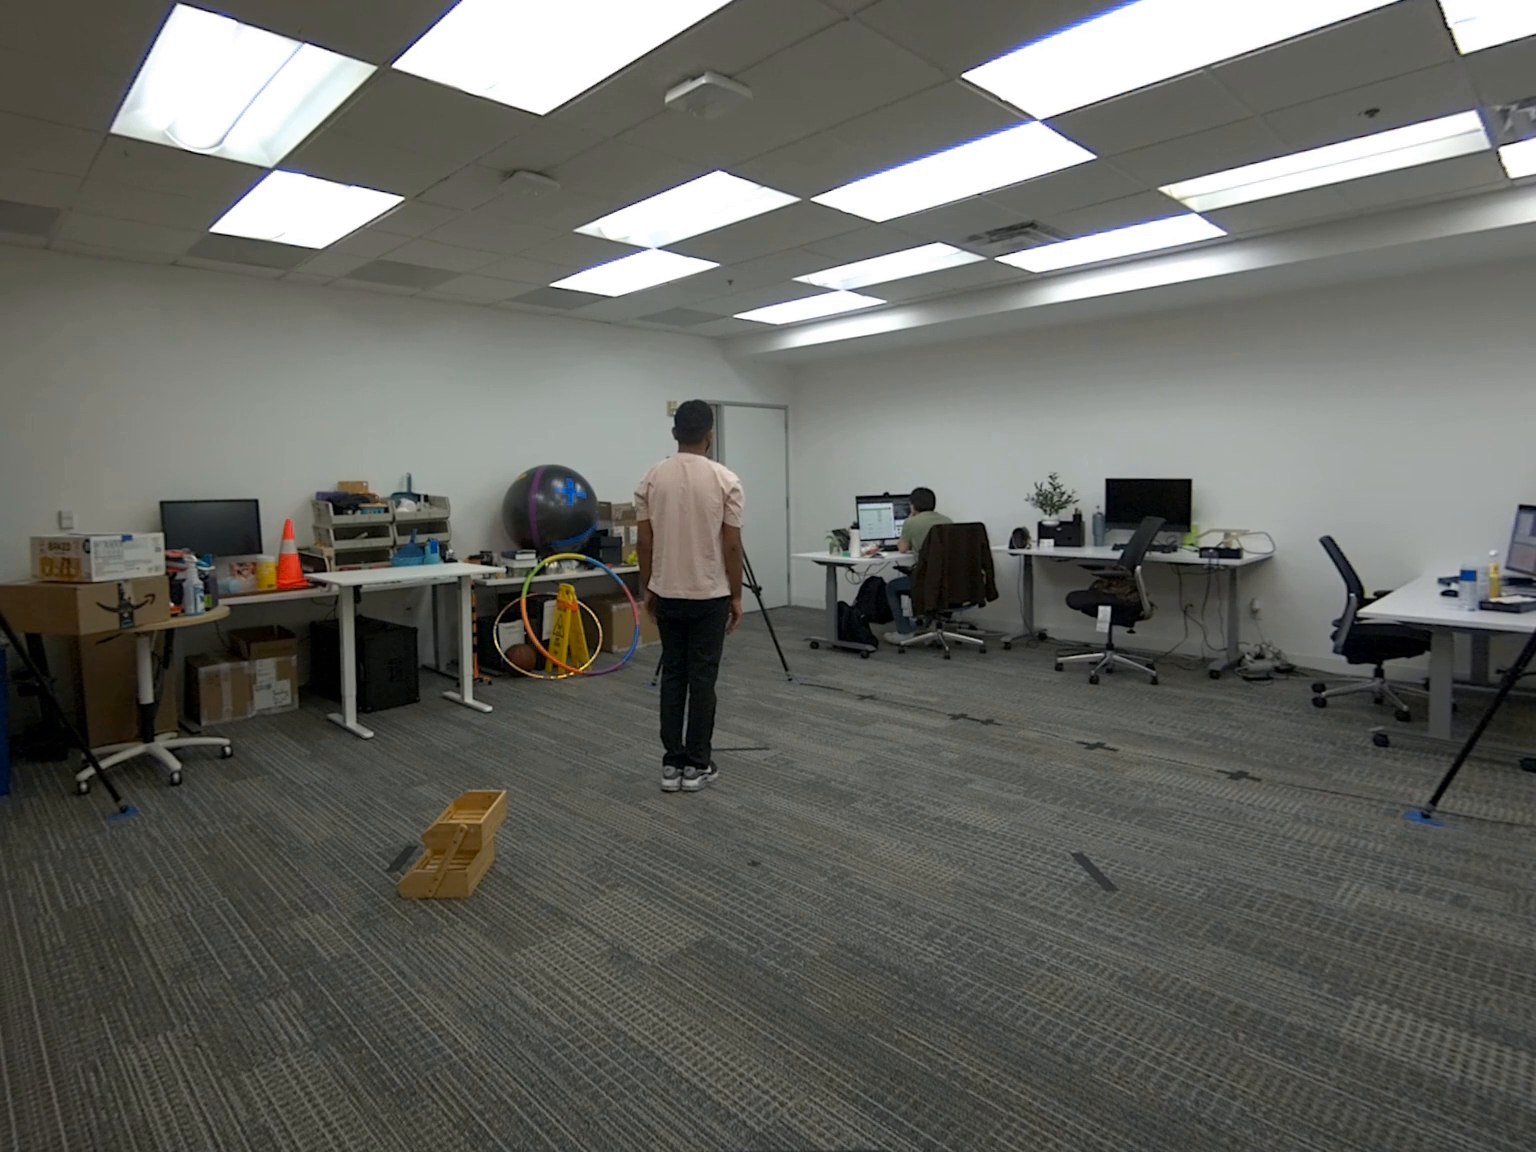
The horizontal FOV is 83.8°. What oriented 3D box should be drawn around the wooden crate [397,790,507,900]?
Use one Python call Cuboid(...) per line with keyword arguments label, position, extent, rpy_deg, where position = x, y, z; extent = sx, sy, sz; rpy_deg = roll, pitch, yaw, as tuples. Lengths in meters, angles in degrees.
Cuboid(label="wooden crate", position=(-1.120, 0.945, 3.037), extent=(0.302, 0.272, 0.326), rpy_deg=(-2, 6, 0))
